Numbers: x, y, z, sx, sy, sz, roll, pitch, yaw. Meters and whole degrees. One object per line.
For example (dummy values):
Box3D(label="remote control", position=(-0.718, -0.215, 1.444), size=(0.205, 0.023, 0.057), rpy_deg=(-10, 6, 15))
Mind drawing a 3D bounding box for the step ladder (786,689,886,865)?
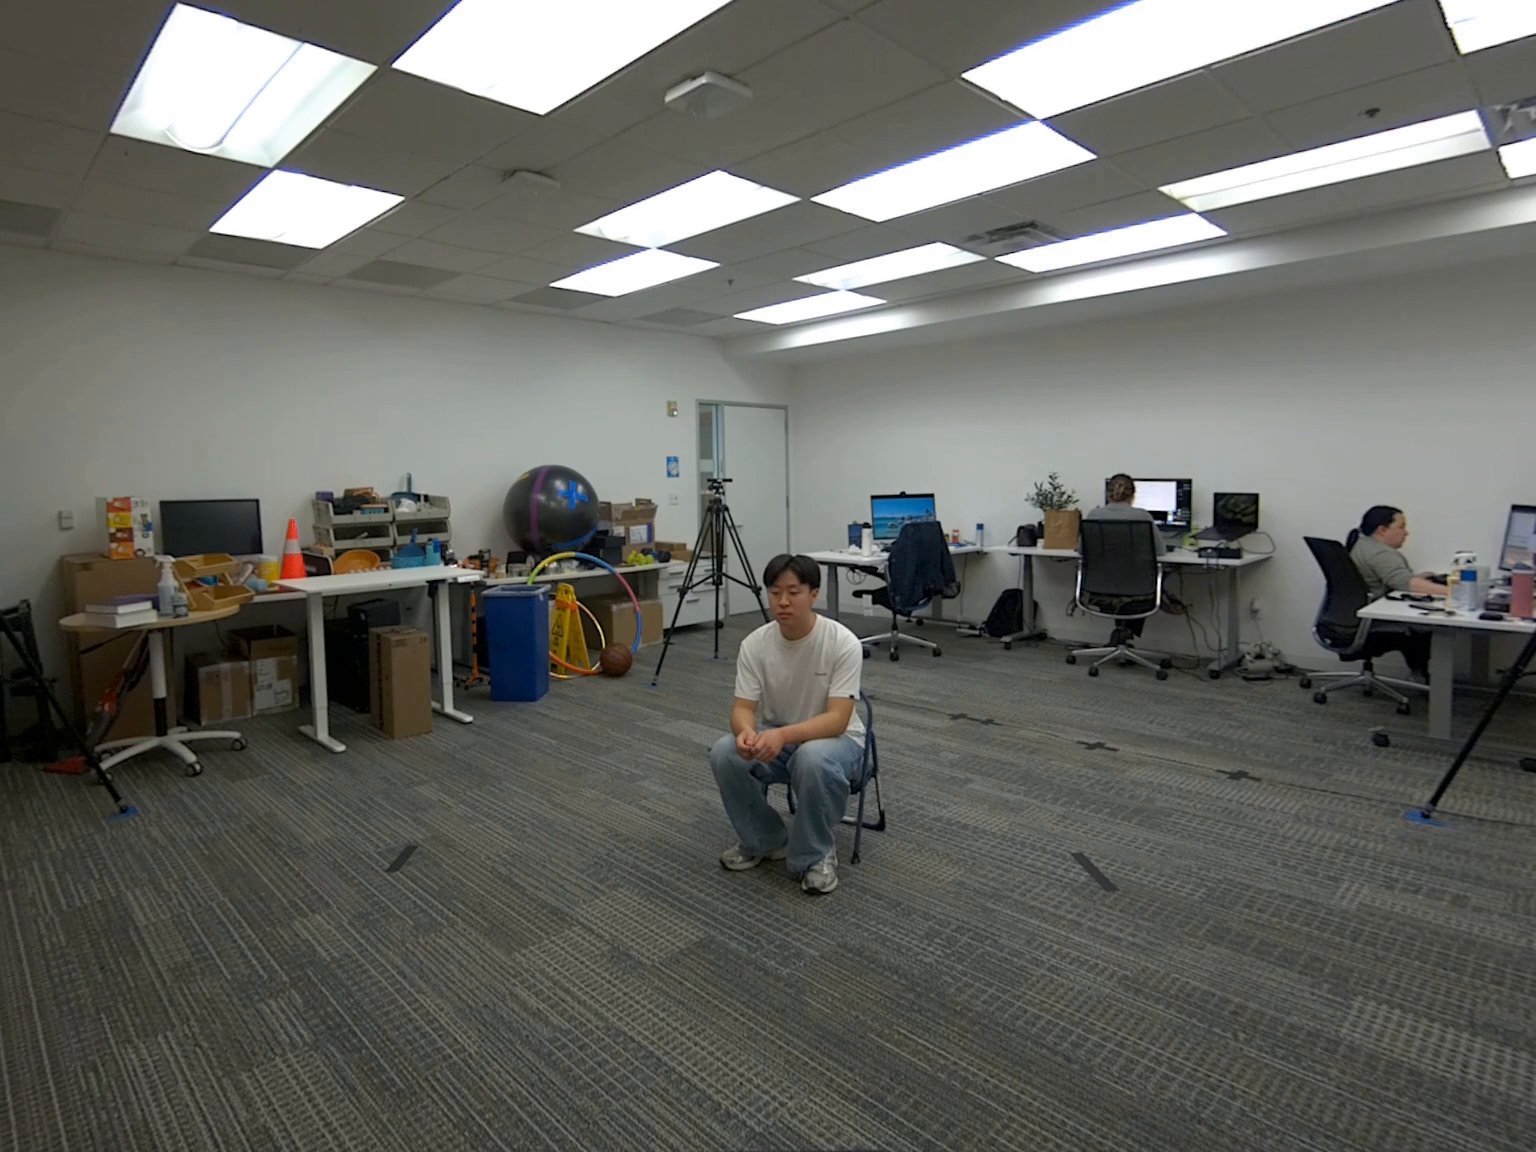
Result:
Box3D(label="step ladder", position=(0.215, 0.717, 3.327), size=(0.442, 0.604, 0.342), rpy_deg=(2, 5, 28))
